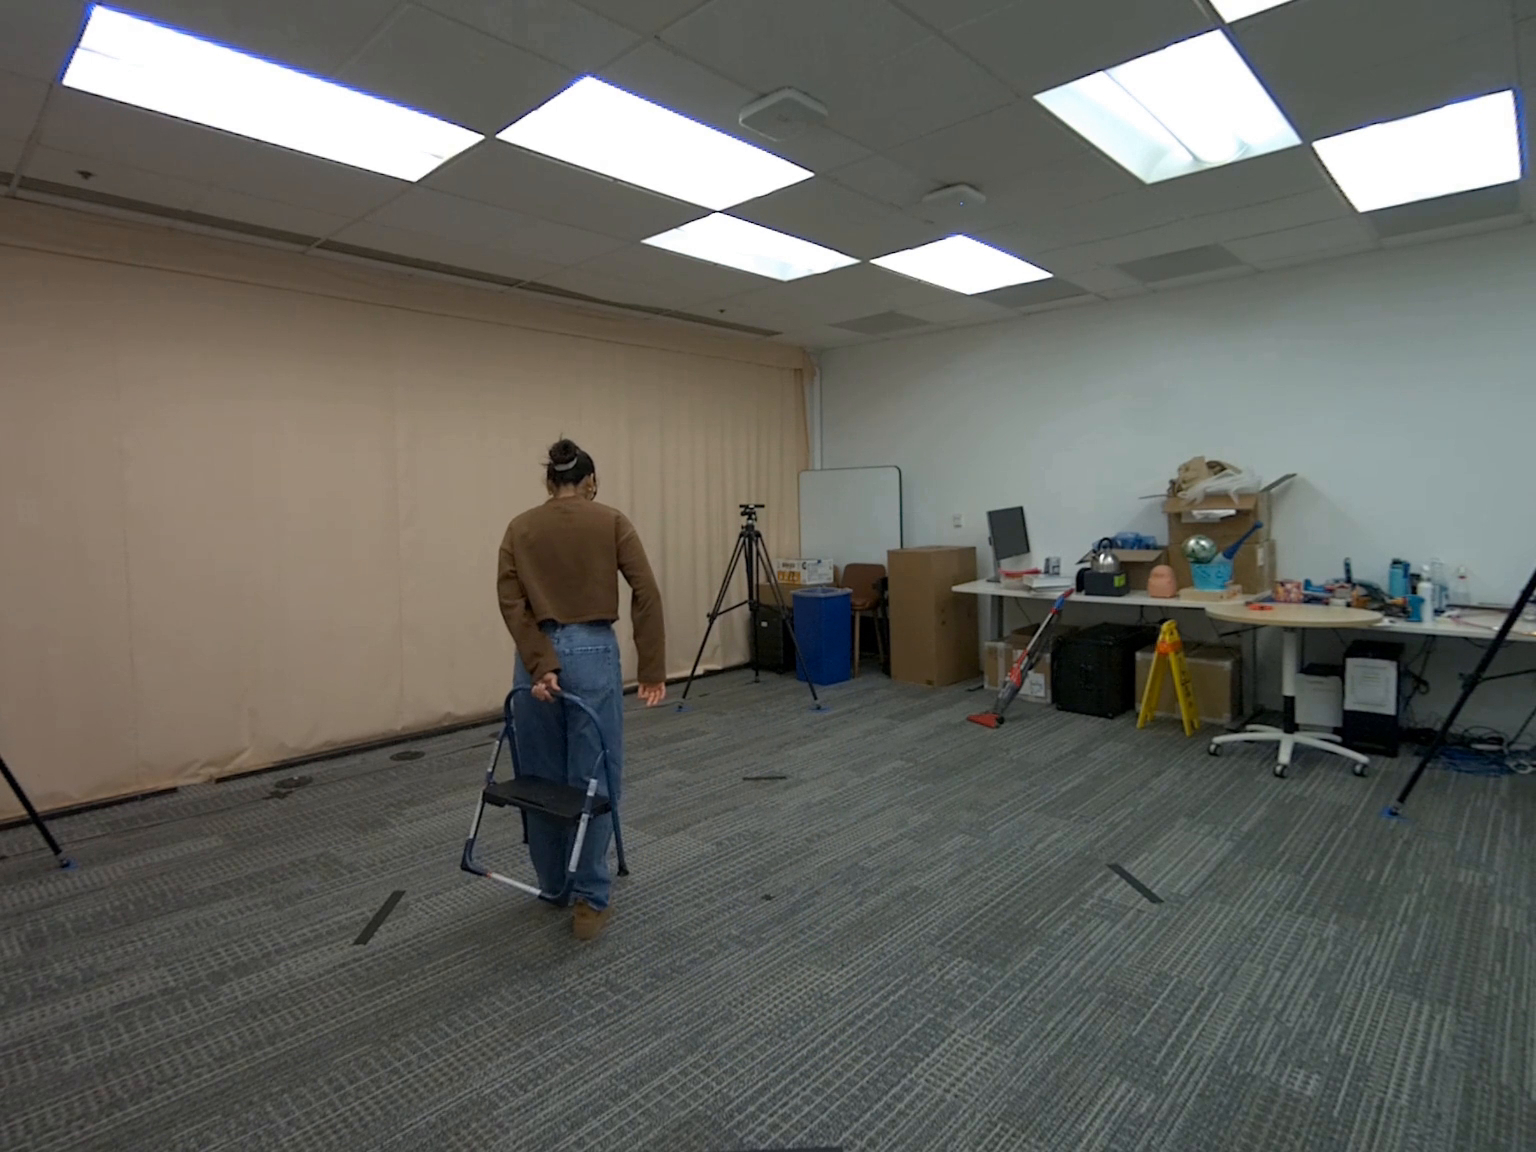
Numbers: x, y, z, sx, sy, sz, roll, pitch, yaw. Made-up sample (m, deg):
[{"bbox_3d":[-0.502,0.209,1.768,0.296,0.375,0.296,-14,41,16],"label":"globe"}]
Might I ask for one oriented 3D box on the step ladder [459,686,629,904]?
[{"bbox_3d":[-0.688,0.650,2.692,0.442,0.605,0.340,7,2,25],"label":"step ladder"}]
